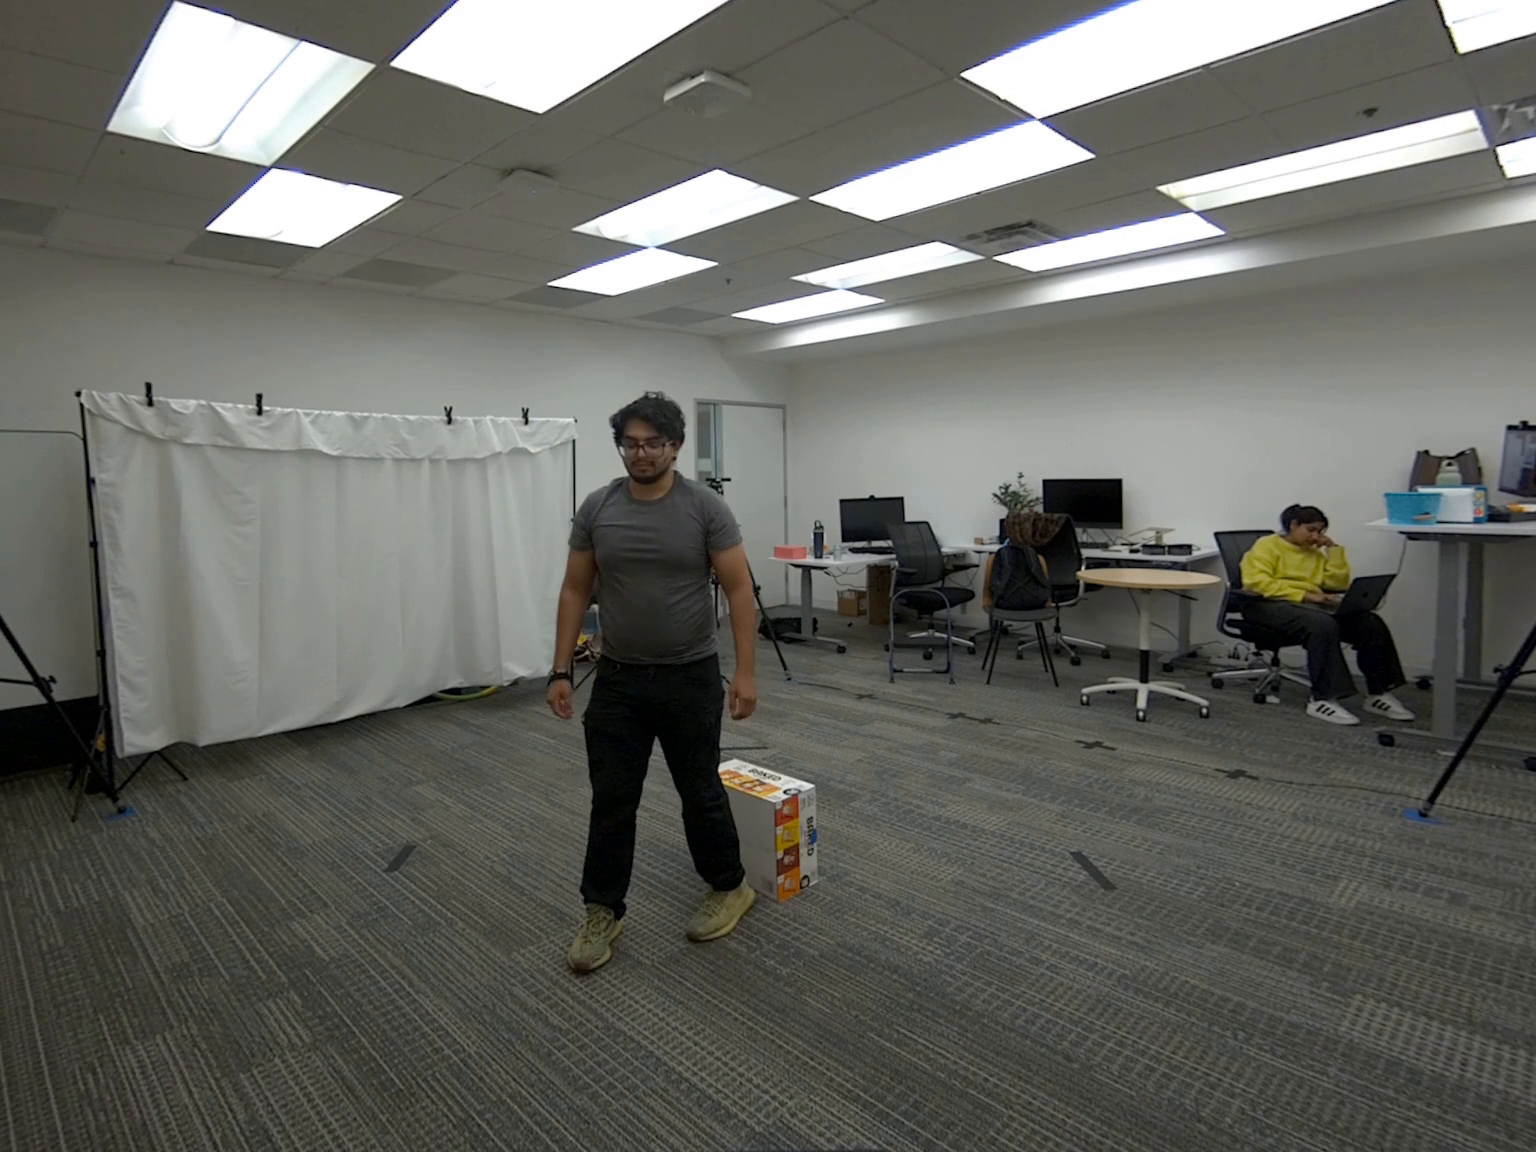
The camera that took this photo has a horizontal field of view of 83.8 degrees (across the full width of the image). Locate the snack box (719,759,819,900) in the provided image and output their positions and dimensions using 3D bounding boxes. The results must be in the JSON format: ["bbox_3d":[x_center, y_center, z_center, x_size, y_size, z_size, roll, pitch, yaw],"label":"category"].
[{"bbox_3d":[-0.042,0.883,3.016,0.200,0.339,0.418,-5,7,-44],"label":"snack box"}]
